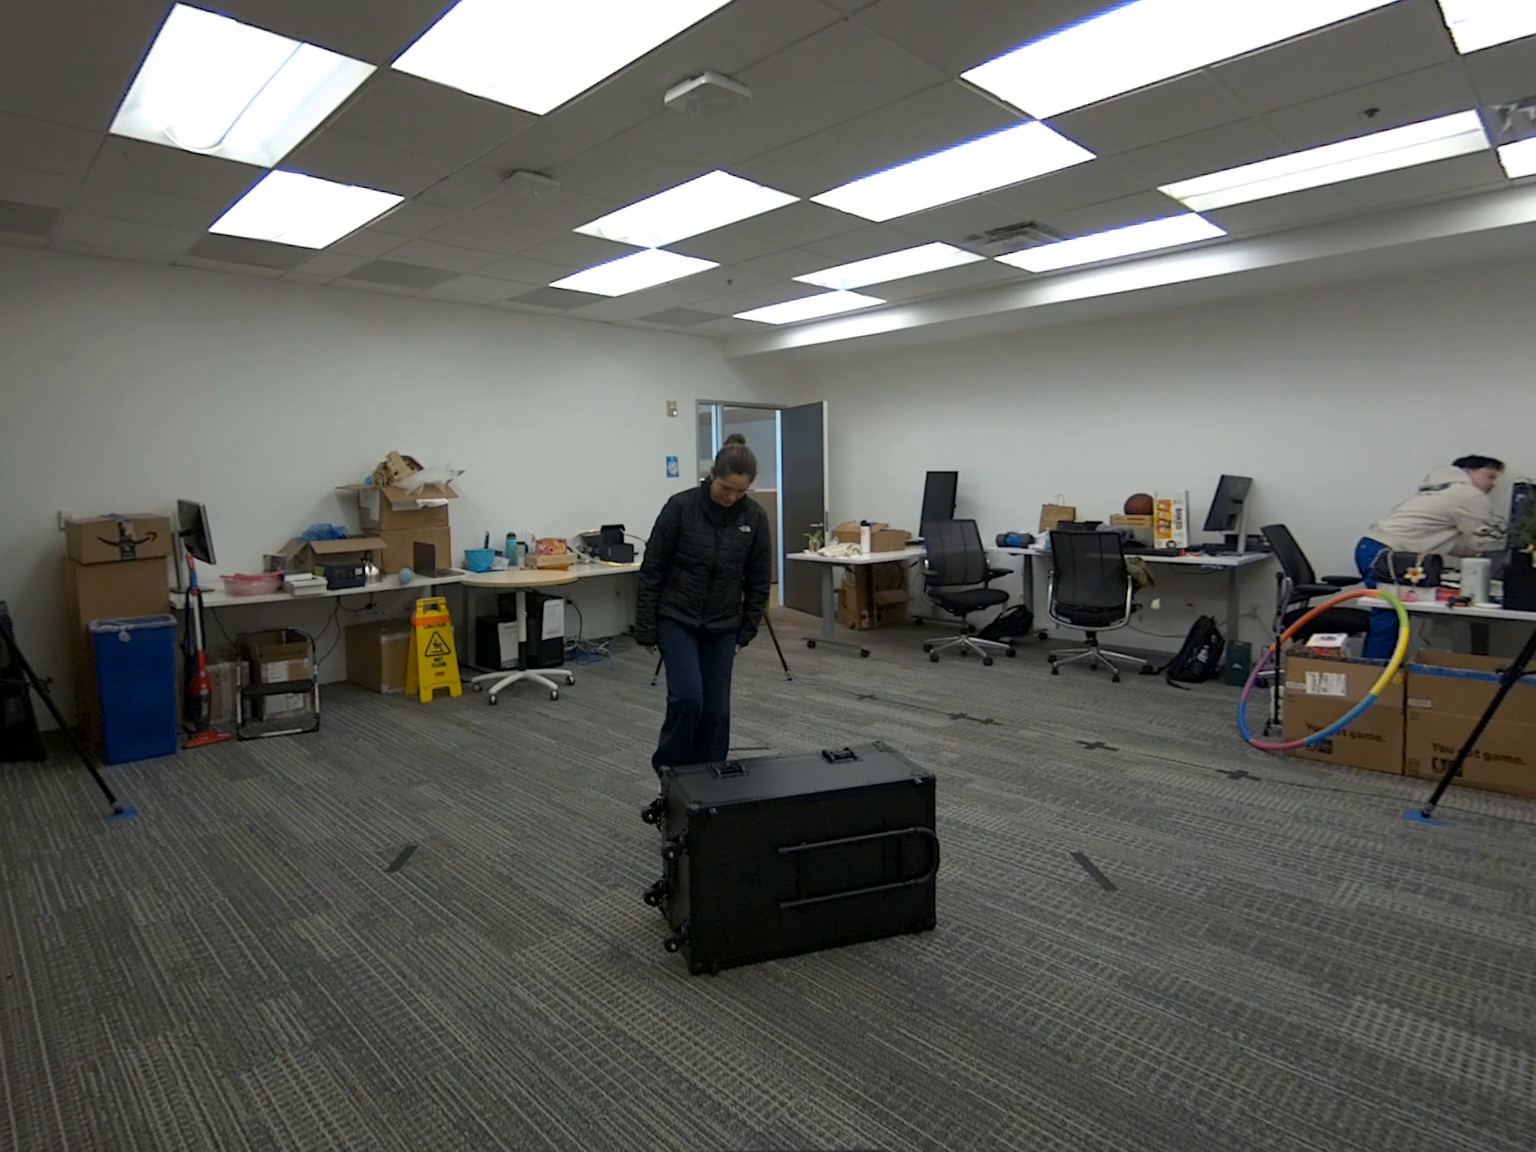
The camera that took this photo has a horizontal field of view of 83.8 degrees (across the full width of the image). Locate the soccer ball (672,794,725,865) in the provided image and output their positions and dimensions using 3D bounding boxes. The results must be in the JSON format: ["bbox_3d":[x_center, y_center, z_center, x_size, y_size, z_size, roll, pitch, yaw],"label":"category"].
[{"bbox_3d":[-0.262,0.948,3.223,0.187,0.187,0.188,-1,5,-2],"label":"soccer ball"}]
